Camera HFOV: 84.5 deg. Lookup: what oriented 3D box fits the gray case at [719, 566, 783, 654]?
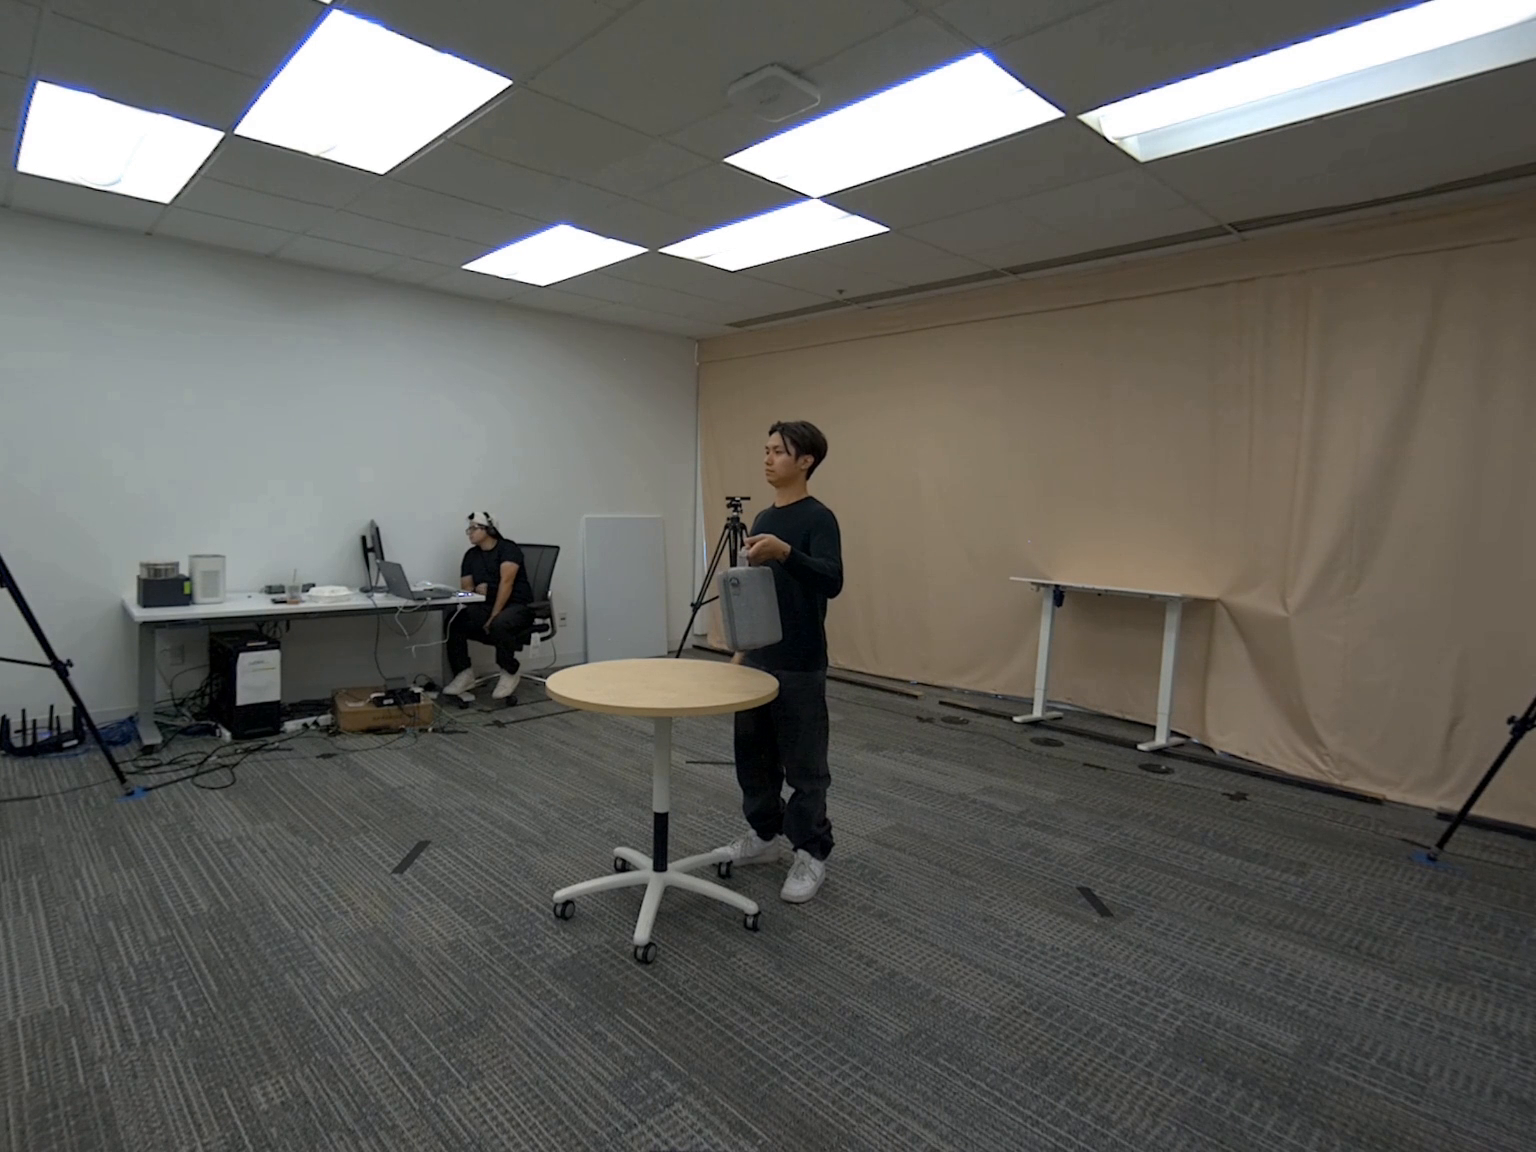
[{"bbox_3d":[-0.059,0.103,2.614,0.106,0.261,0.252,-10,-4,22],"label":"gray case"}]
